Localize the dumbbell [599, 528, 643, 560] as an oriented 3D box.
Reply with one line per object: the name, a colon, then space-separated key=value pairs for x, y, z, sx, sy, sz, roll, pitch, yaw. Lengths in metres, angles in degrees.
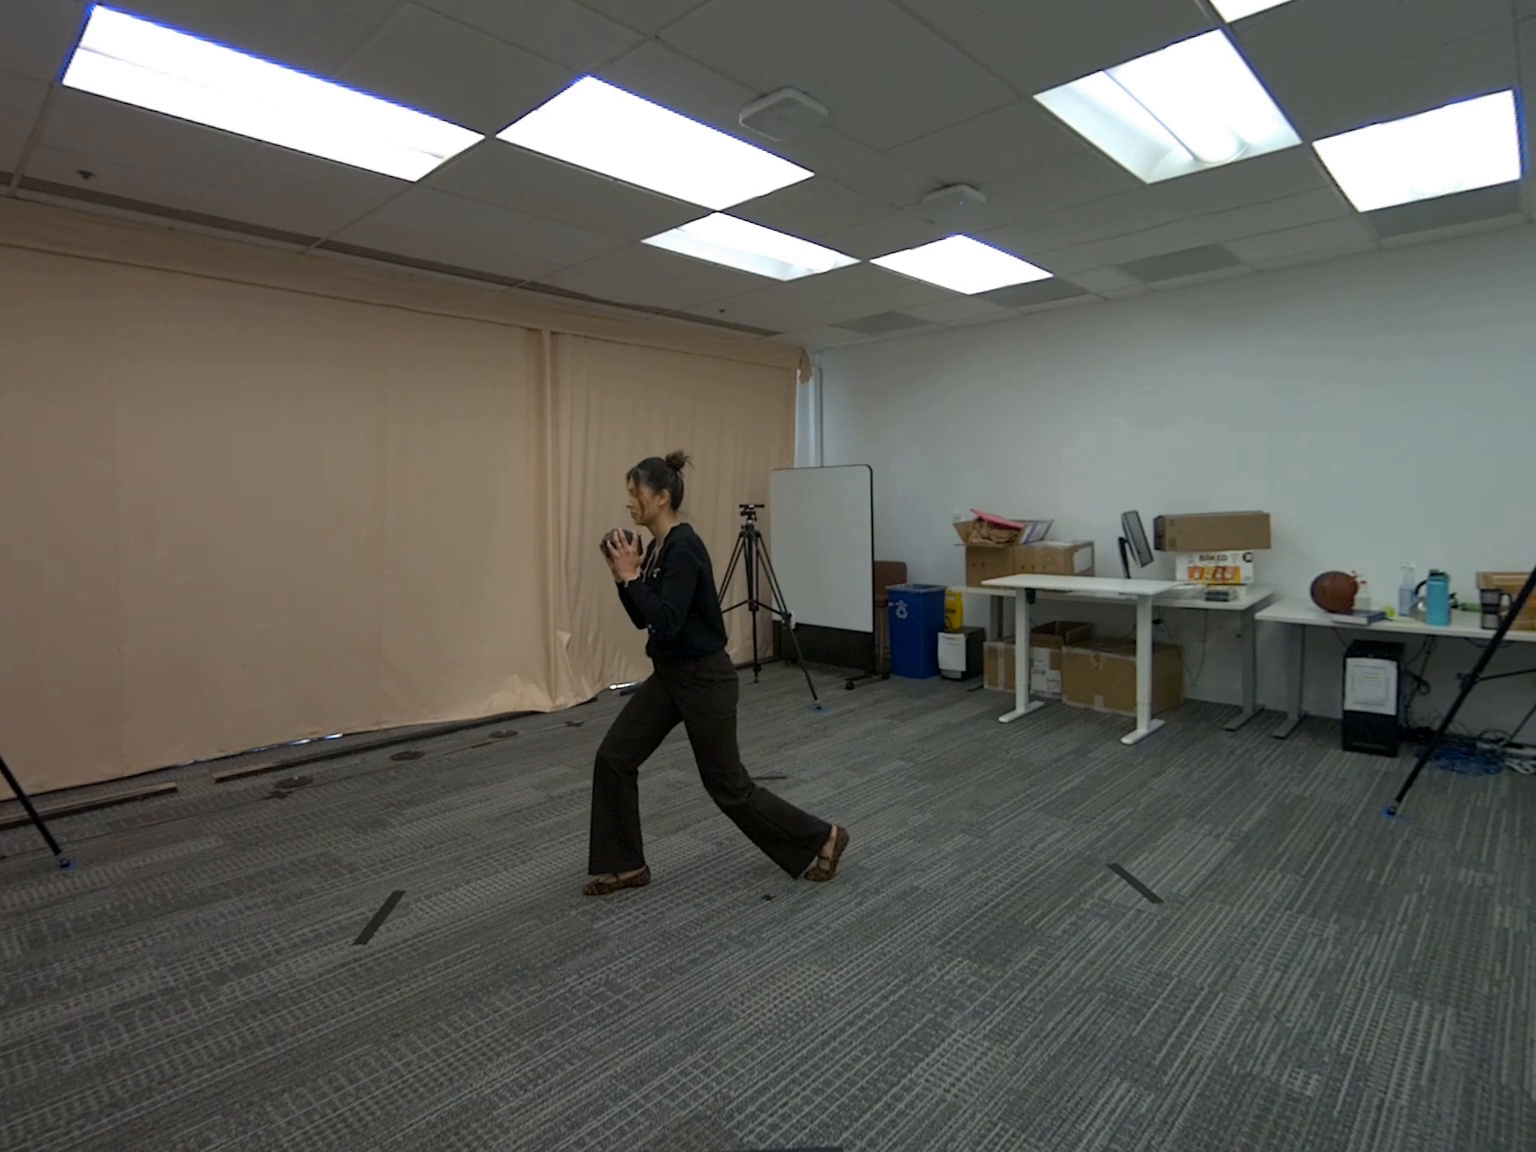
dumbbell: x=-0.522 y=-0.099 z=3.002 sx=0.120 sy=0.109 sz=0.299 roll=26 pitch=-3 yaw=-17
